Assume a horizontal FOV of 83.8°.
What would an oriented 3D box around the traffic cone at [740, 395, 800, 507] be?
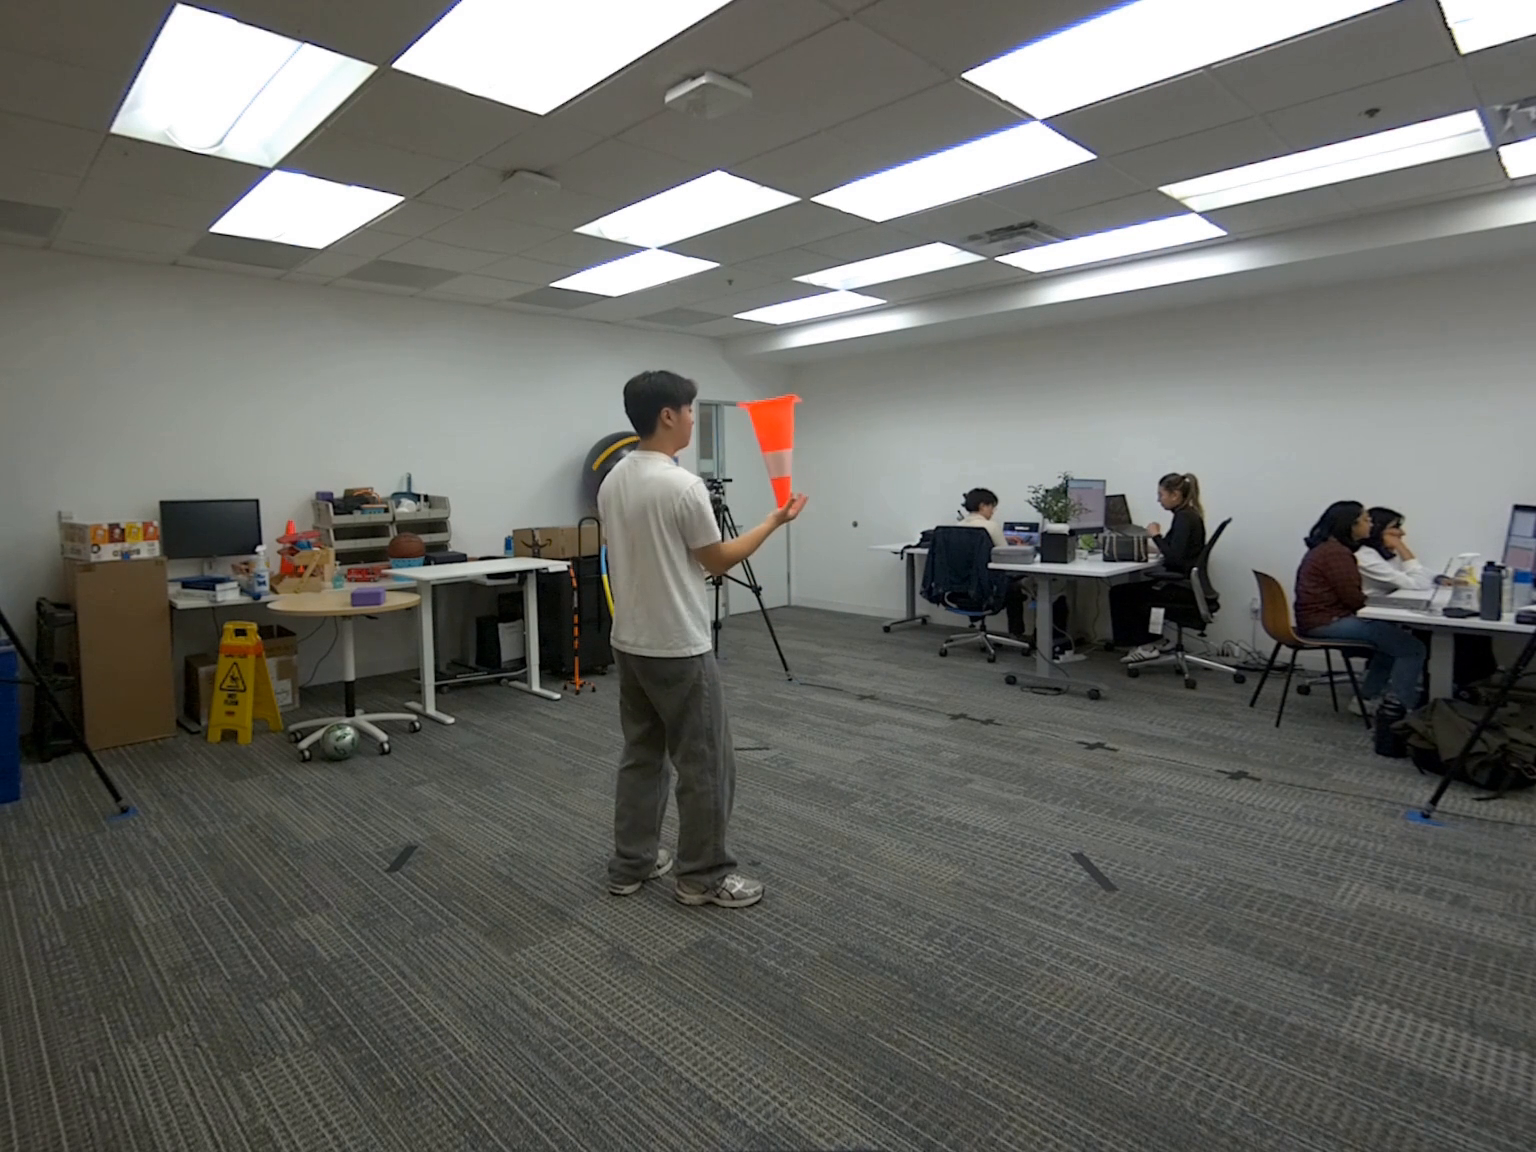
[{"bbox_3d":[0.037,-0.405,2.919,0.208,0.382,0.201,-8,3,18],"label":"traffic cone"}]
